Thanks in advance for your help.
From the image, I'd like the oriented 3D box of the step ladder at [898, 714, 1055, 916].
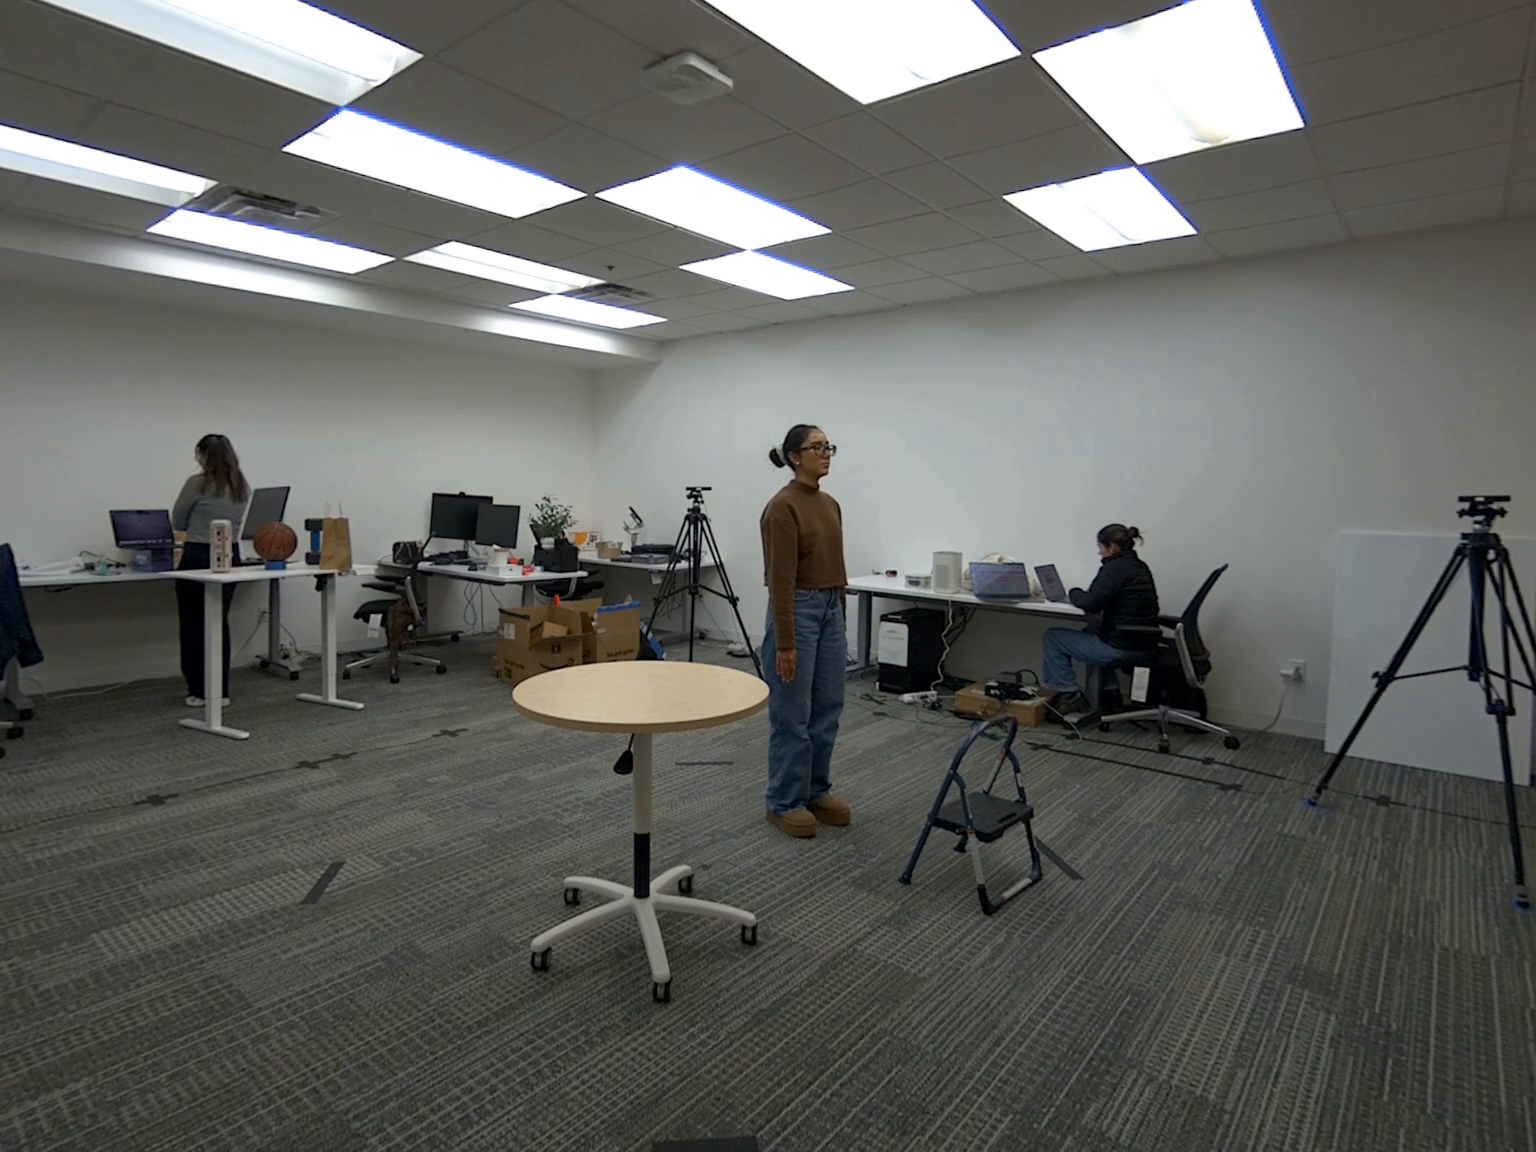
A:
[{"bbox_3d":[0.737,0.793,3.047,0.361,0.604,0.417,4,4,42],"label":"step ladder"}]
